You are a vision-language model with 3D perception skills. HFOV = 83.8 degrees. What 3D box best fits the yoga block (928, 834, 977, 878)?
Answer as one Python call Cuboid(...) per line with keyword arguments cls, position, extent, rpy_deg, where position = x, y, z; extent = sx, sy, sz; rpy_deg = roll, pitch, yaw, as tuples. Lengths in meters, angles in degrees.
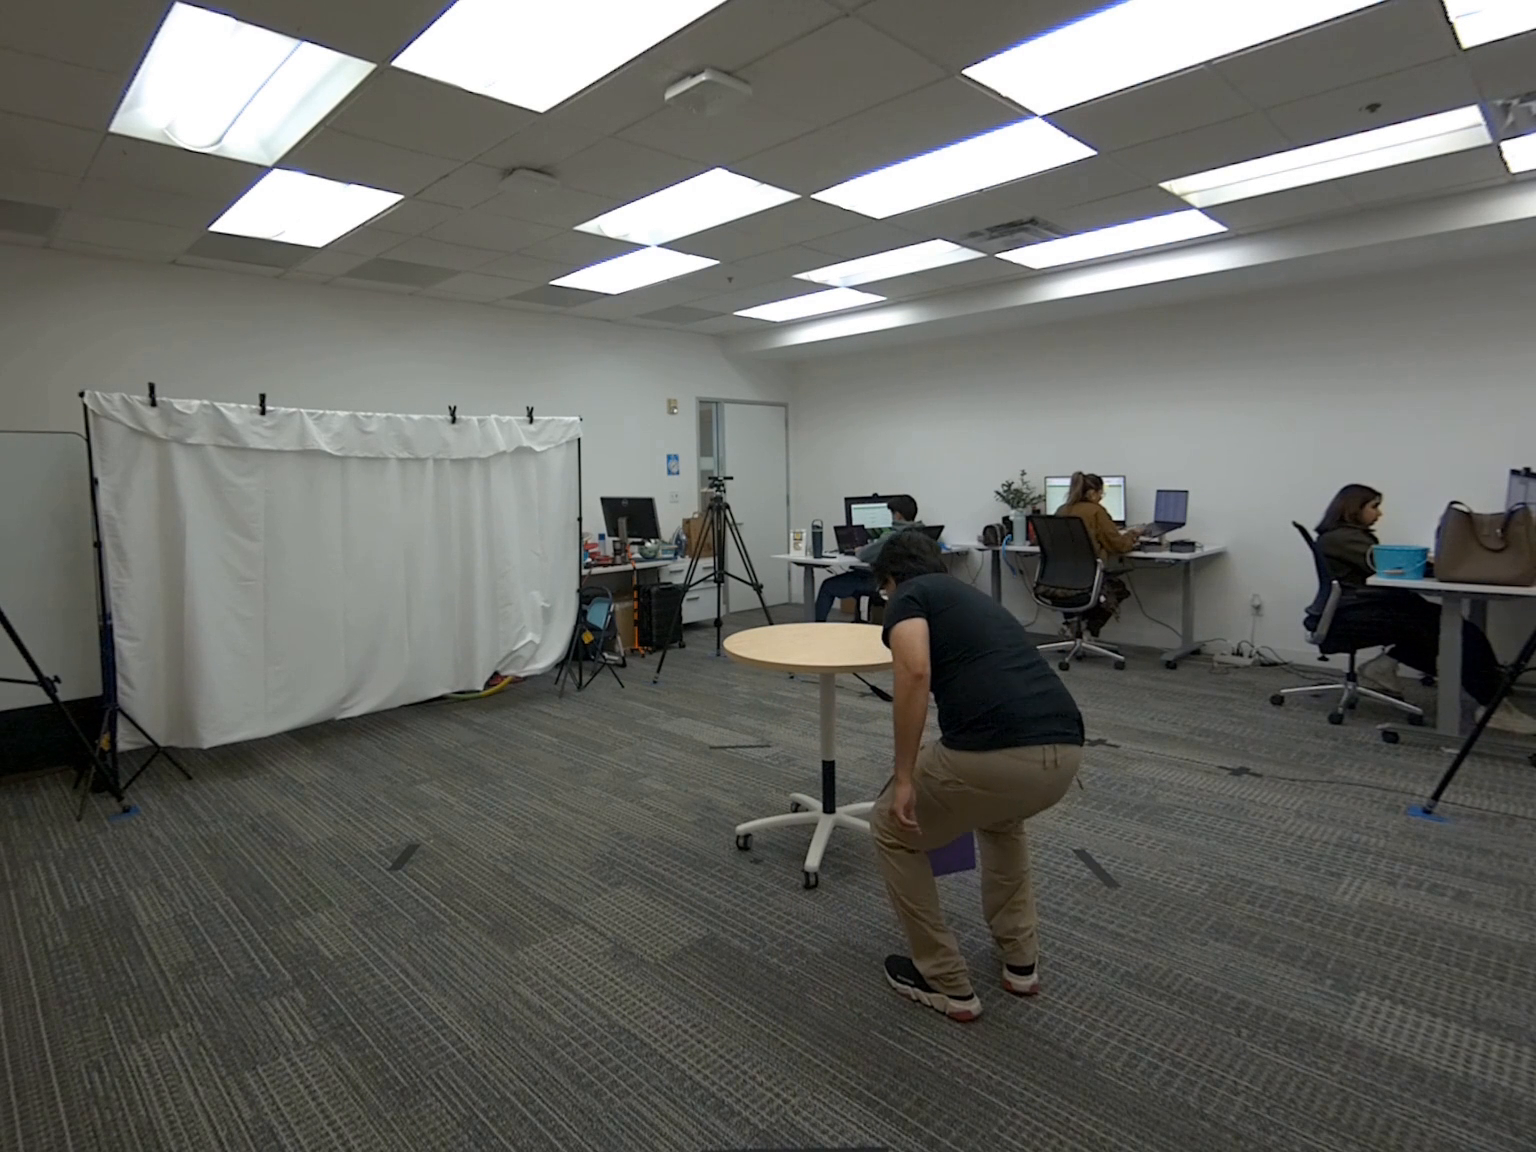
Cuboid(cls="yoga block", position=(0.549, 0.858, 2.661), extent=(0.226, 0.148, 0.078), rpy_deg=(-5, 4, -18))
